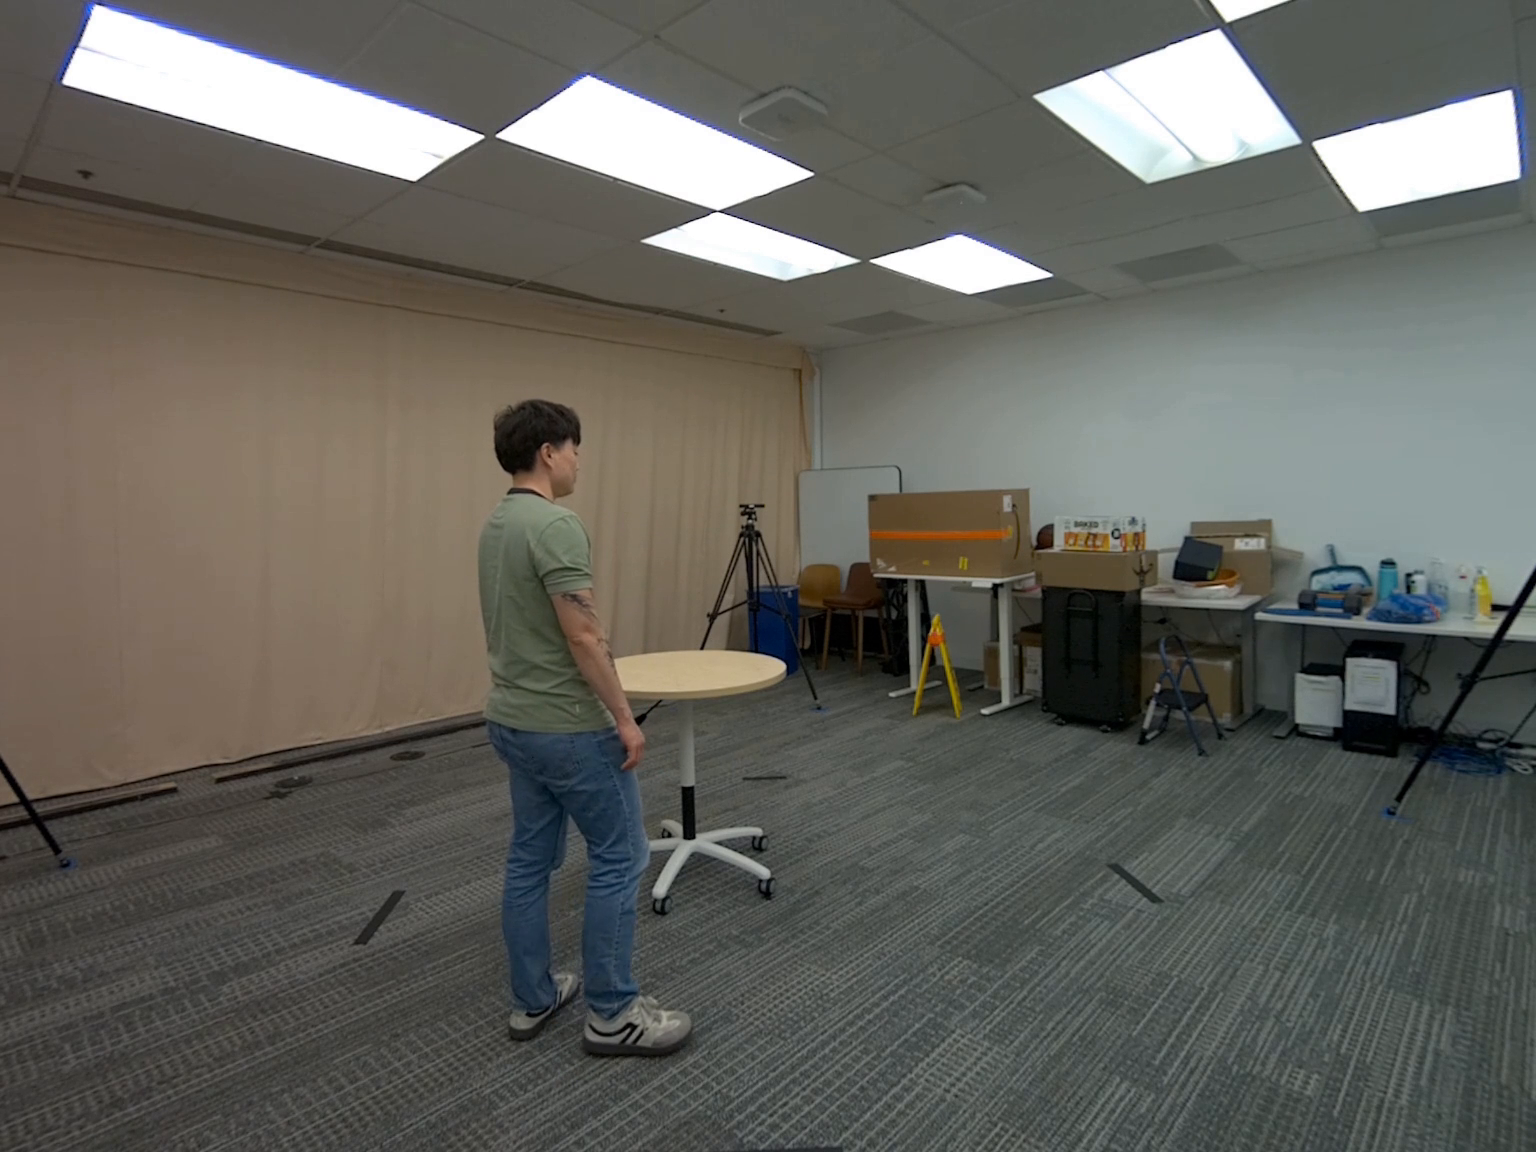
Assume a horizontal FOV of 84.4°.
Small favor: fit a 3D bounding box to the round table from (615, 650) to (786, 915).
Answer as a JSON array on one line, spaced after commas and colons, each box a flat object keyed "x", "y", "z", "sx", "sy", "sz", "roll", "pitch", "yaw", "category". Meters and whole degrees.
[{"x": -0.294, "y": 0.741, "z": 3.163, "sx": 0.763, "sy": 0.792, "sz": 0.767, "roll": -2, "pitch": 4, "yaw": -2, "category": "round table"}]
